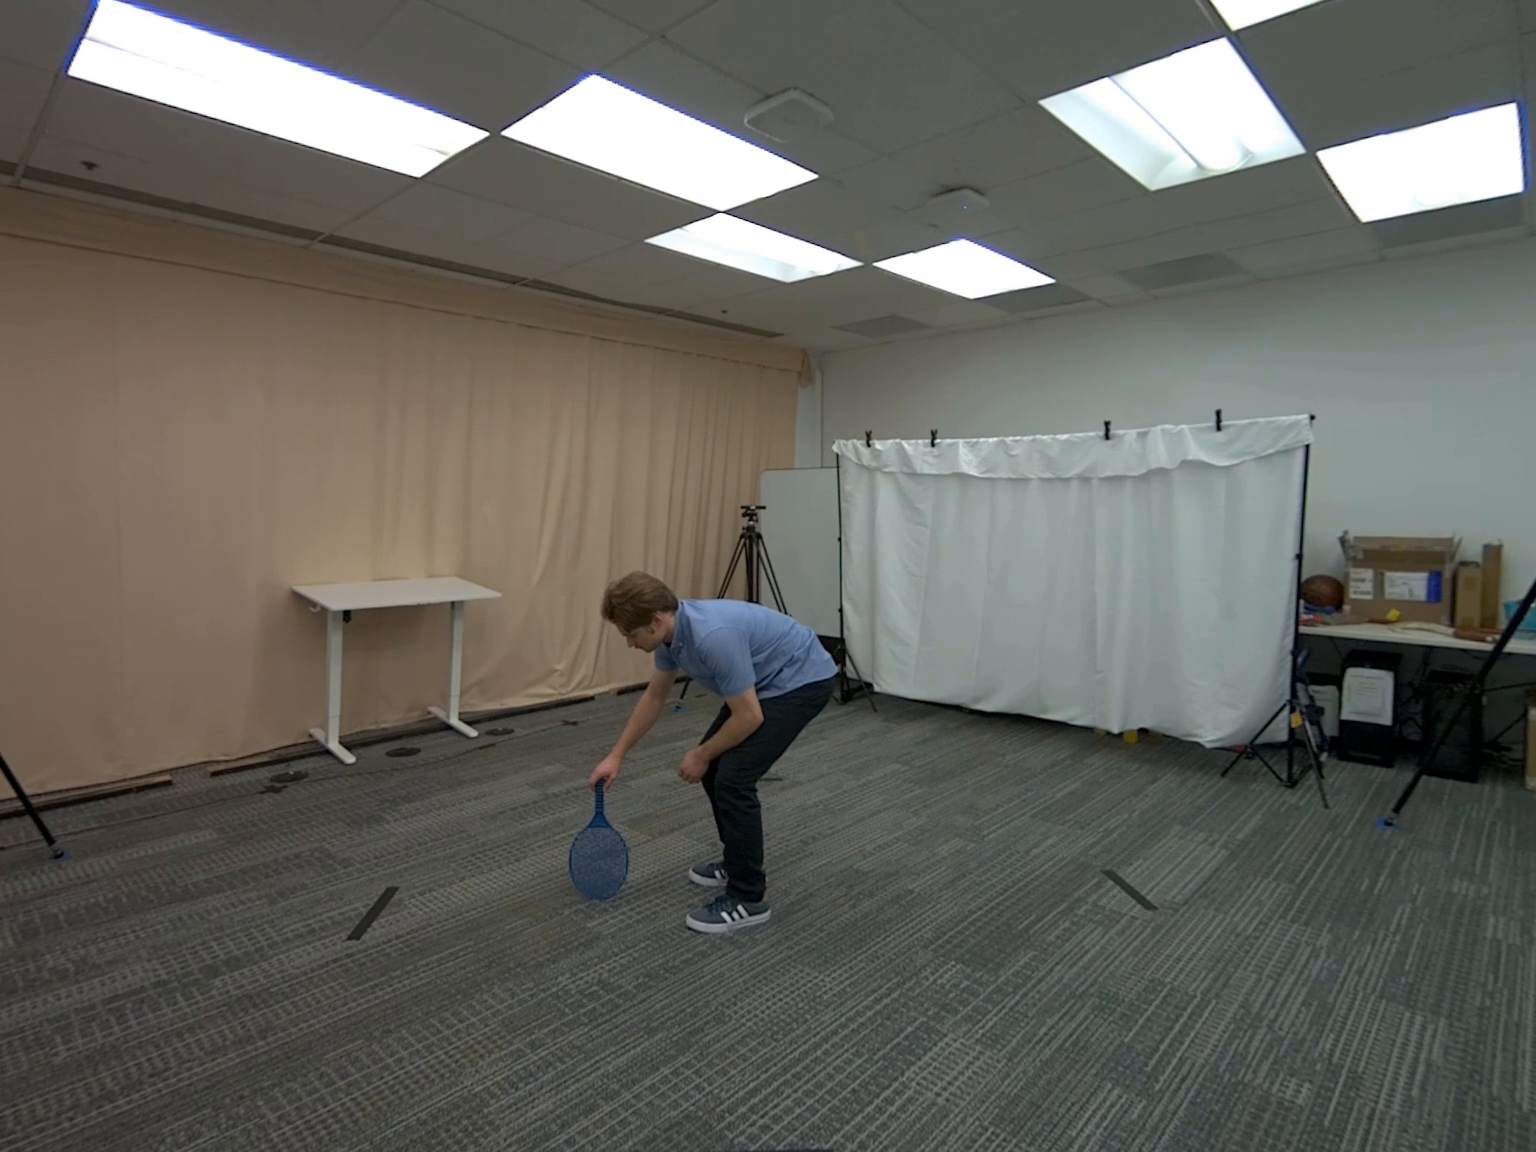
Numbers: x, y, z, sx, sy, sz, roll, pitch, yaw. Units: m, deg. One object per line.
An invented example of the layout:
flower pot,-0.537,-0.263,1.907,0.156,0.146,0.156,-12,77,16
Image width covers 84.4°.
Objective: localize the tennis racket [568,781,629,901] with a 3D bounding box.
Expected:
tennis racket,-0.590,0.939,2.994,0.213,0.433,0.032,0,-1,-1
